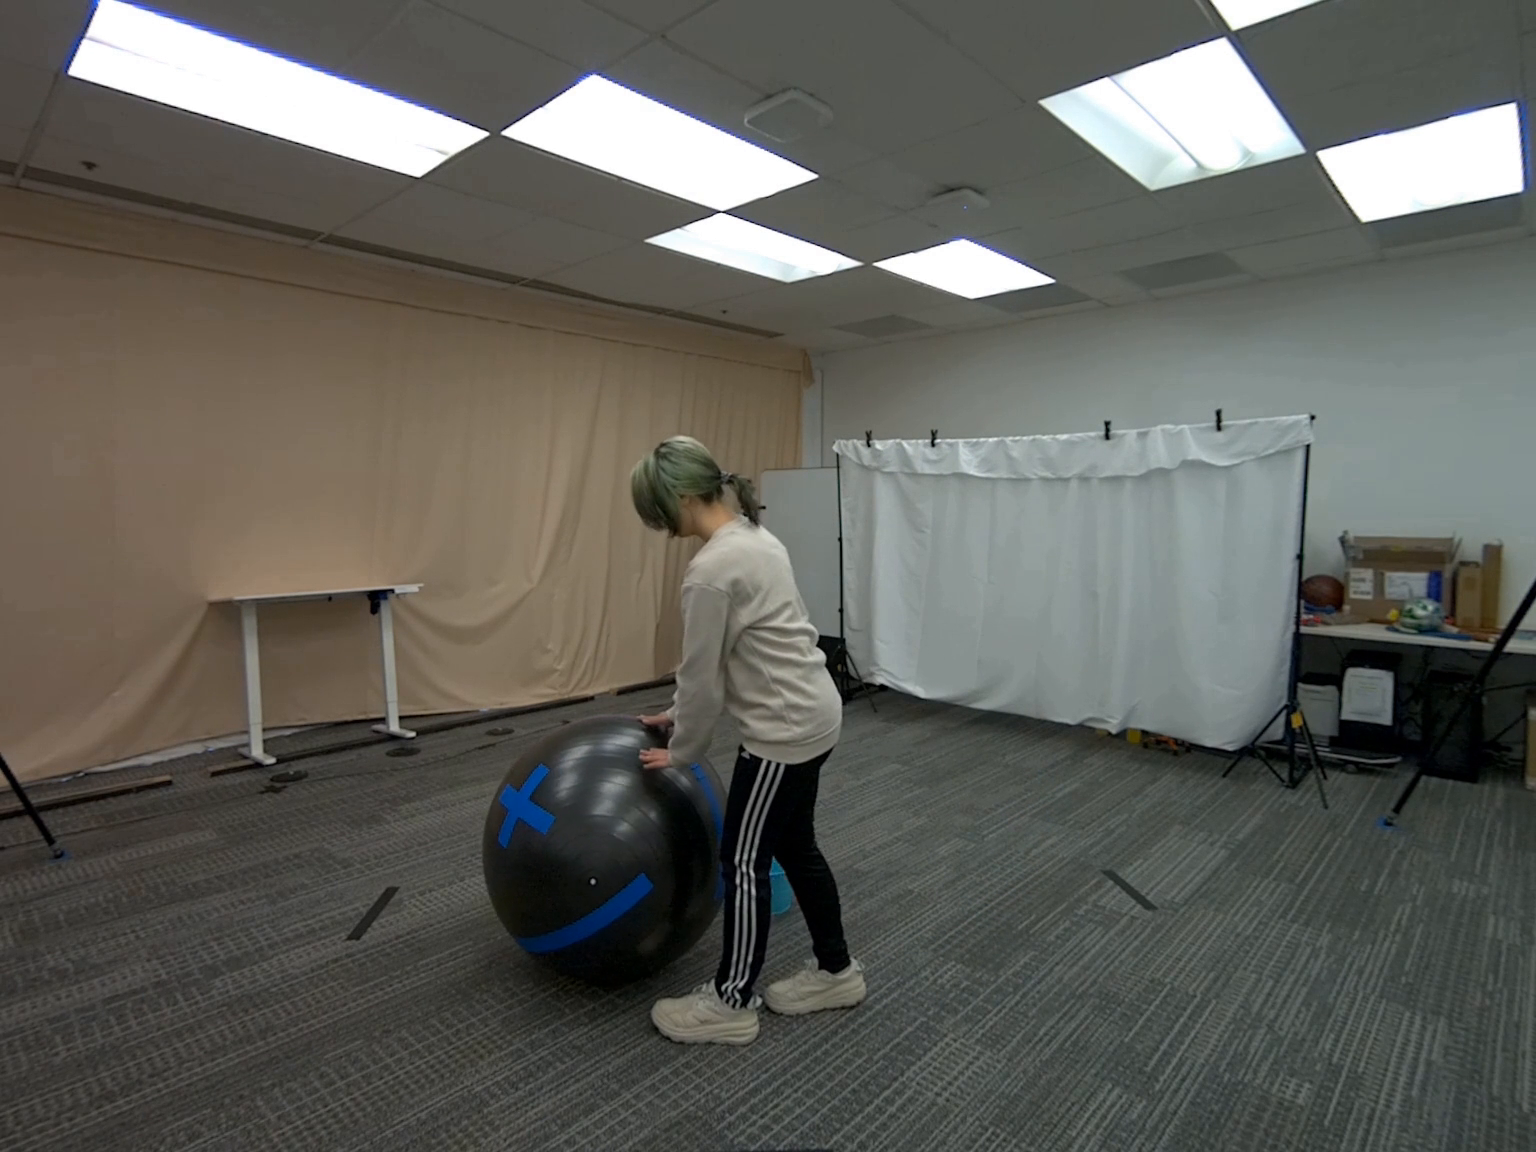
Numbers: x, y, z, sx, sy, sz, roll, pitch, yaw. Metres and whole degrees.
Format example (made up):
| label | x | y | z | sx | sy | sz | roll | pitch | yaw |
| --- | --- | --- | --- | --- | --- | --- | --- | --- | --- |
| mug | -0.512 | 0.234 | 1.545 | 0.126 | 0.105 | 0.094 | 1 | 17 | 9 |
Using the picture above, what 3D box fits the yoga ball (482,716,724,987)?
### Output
| label | x | y | z | sx | sy | sz | roll | pitch | yaw |
| --- | --- | --- | --- | --- | --- | --- | --- | --- | --- |
| yoga ball | -0.474 | 0.810 | 2.554 | 0.757 | 0.756 | 0.760 | 0 | 4 | -2 |
